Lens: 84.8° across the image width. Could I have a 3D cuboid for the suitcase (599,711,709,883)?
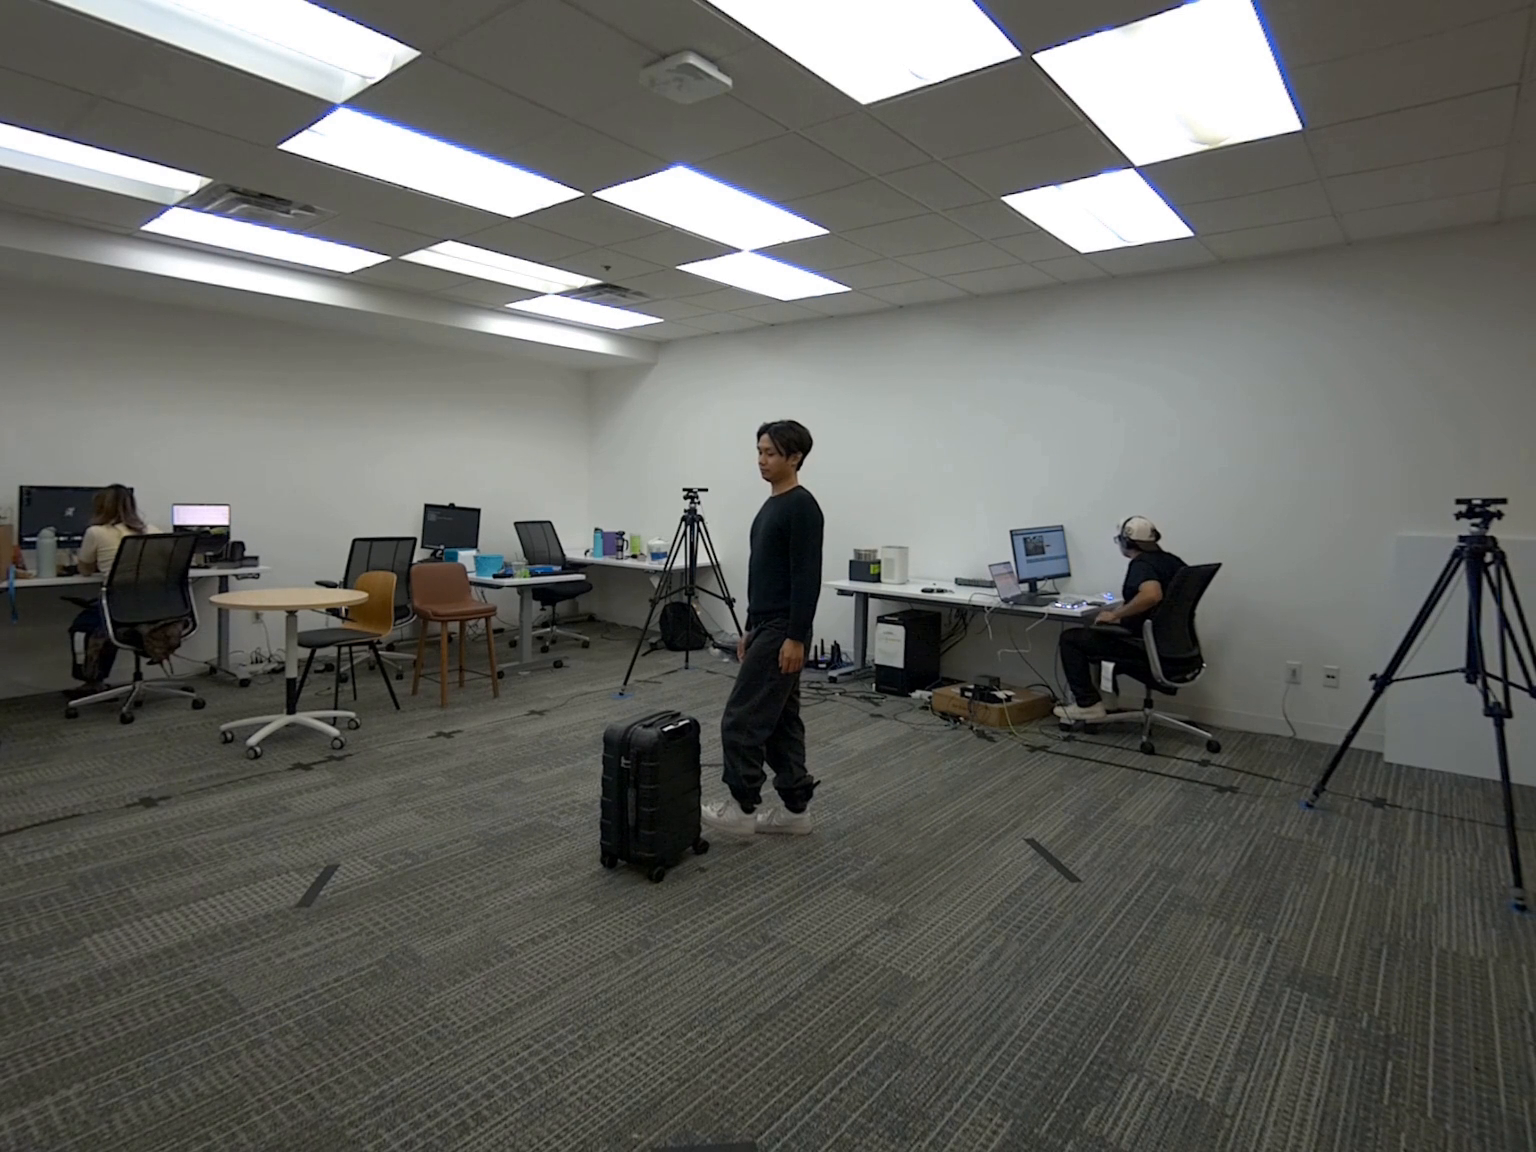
[{"bbox_3d":[-0.445,0.787,3.153,0.255,0.548,0.366,2,4,29],"label":"suitcase"}]
